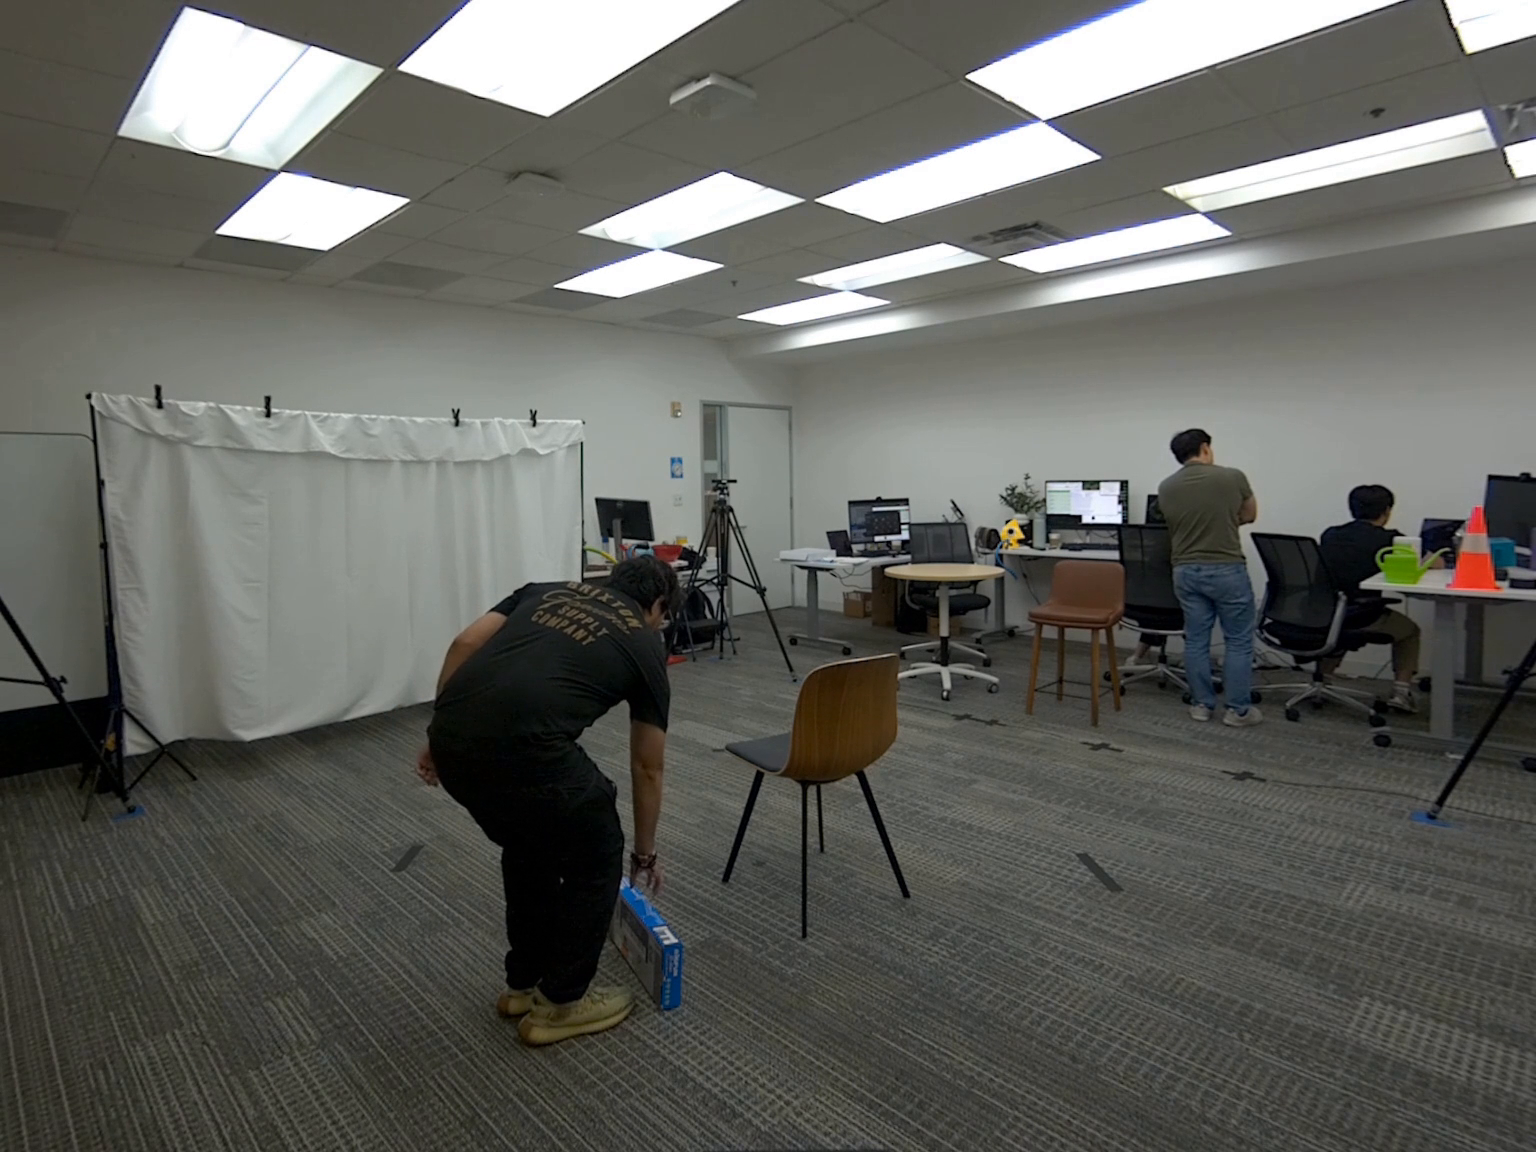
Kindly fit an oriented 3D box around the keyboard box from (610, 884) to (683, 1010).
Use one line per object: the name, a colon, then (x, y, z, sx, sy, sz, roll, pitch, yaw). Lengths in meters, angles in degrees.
keyboard box: (-0.358, 1.048, 2.455, 0.058, 0.175, 0.449, 1, 4, -29)
